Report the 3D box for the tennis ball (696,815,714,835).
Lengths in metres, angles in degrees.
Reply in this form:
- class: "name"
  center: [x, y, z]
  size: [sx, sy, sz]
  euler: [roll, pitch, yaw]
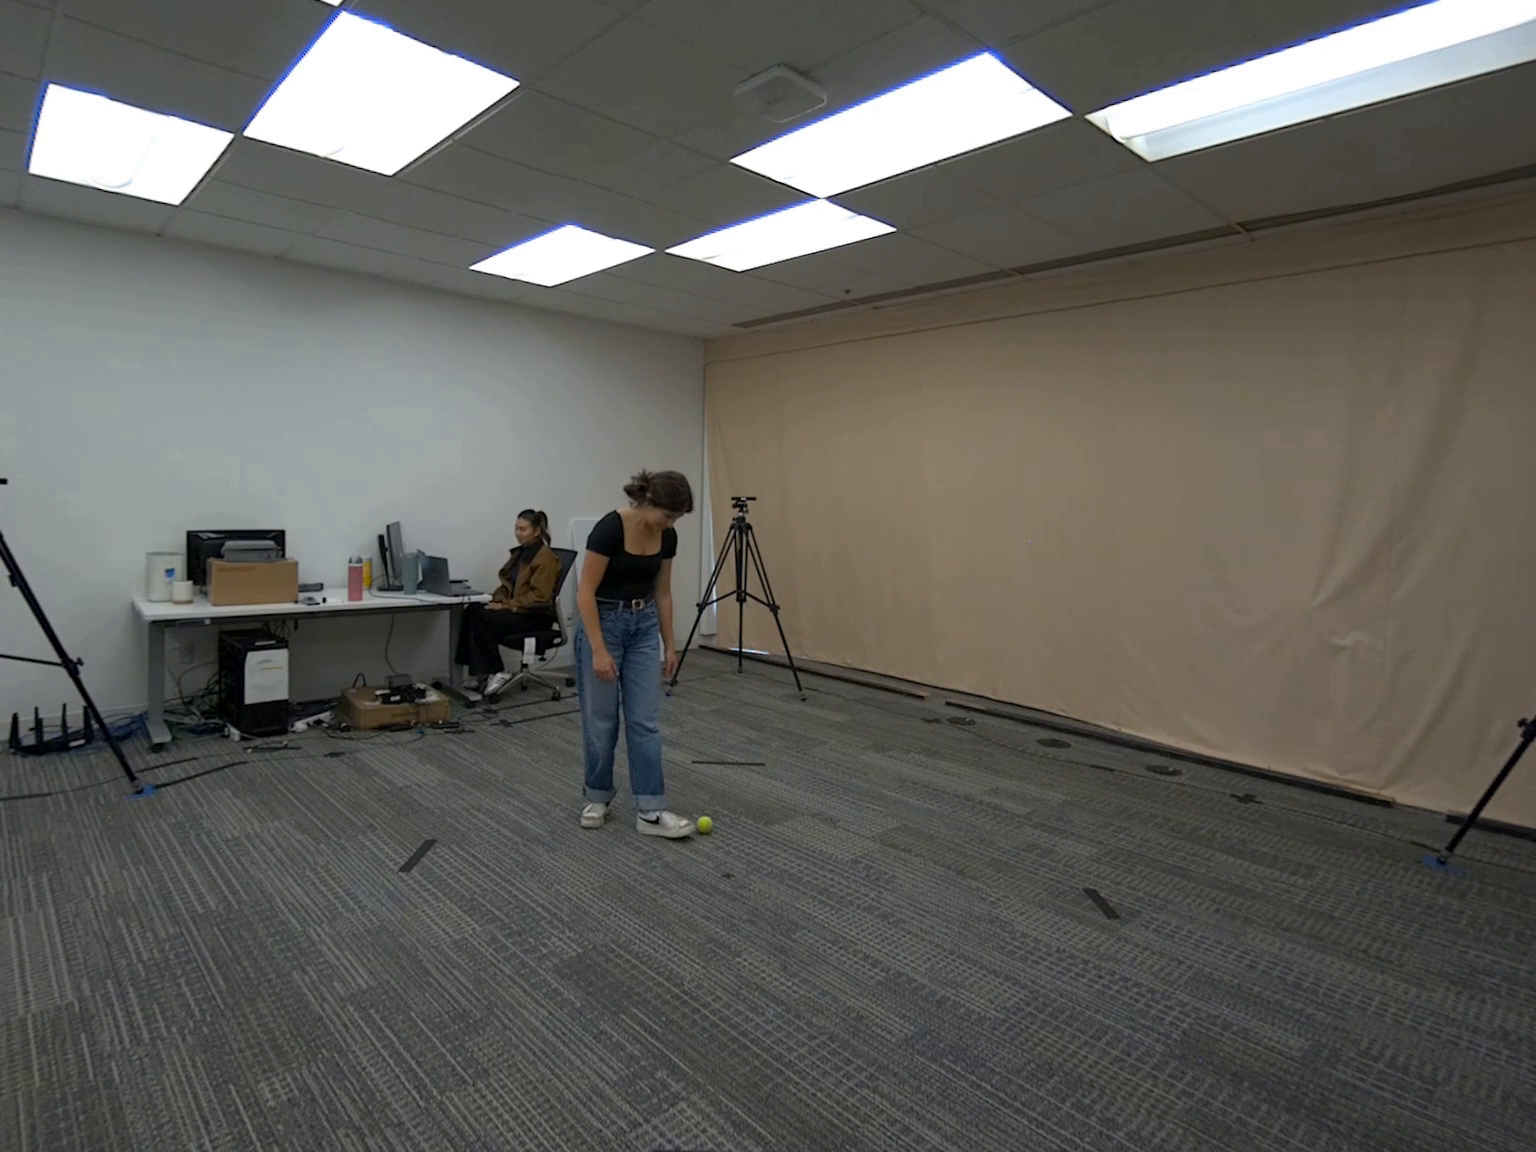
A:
- class: "tennis ball"
  center: [-0.283, 1.023, 3.504]
  size: [0.066, 0.066, 0.067]
  euler: [1, 4, -1]
